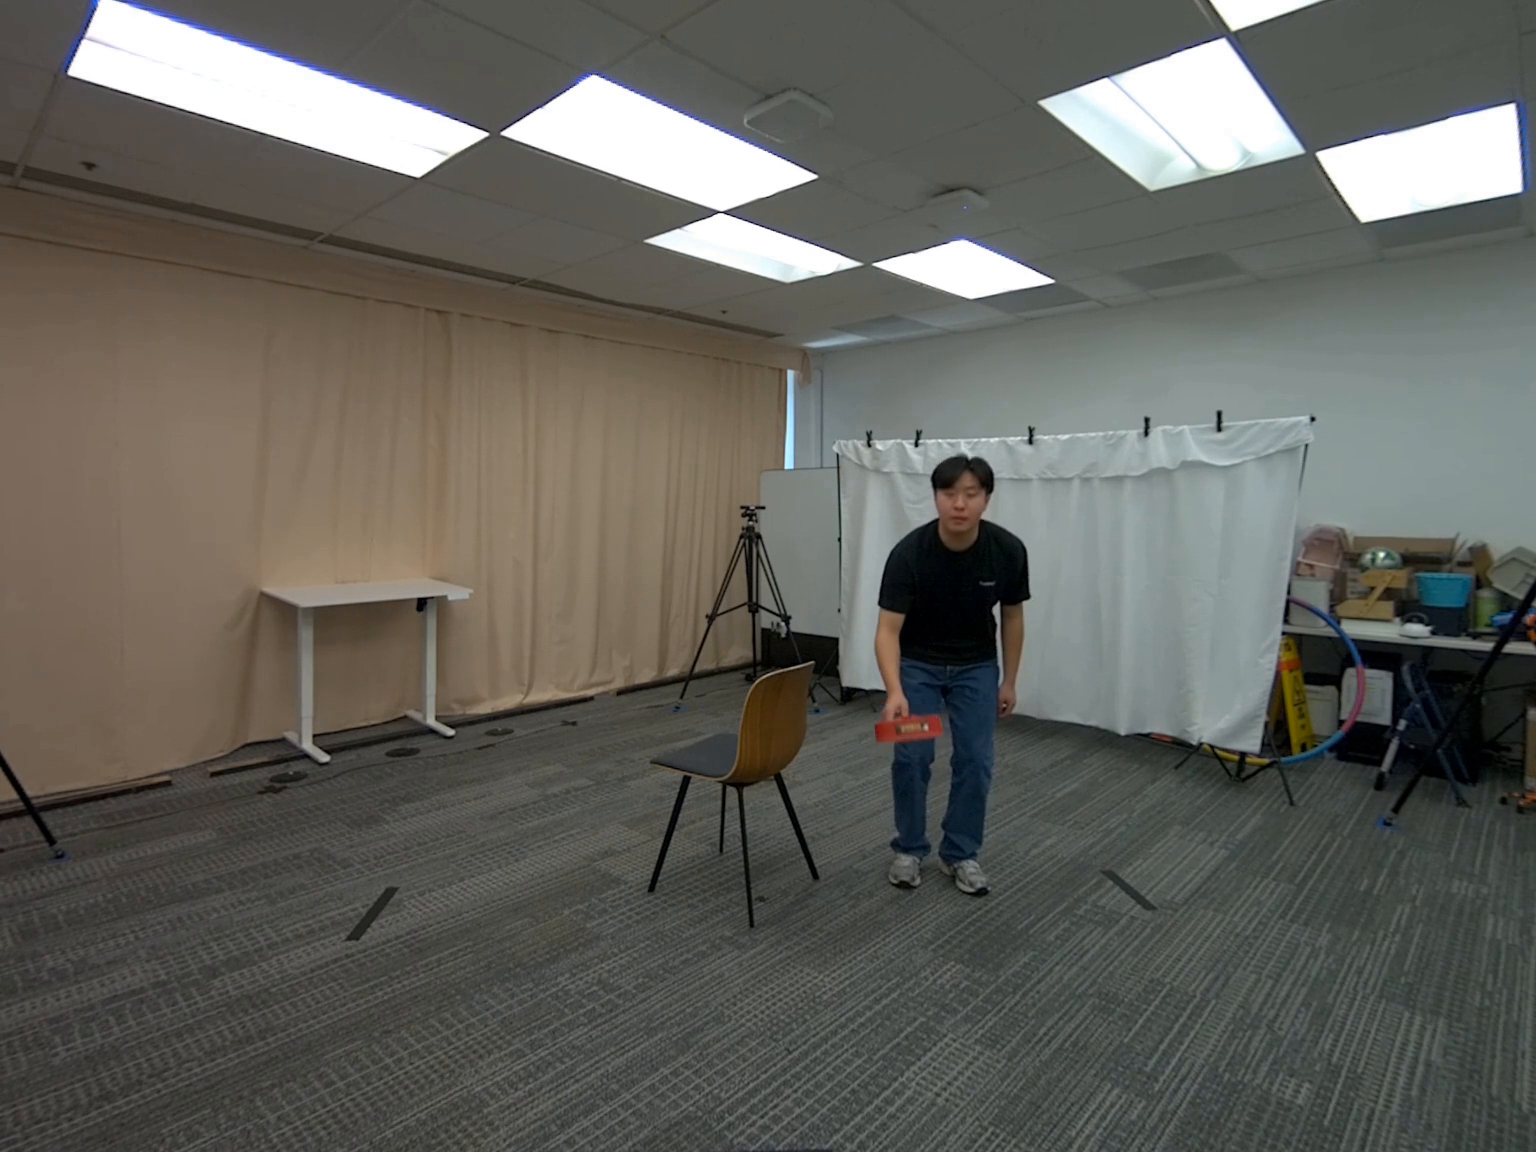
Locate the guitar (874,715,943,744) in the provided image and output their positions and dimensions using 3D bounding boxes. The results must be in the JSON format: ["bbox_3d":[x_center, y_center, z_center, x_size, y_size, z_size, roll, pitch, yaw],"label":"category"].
[{"bbox_3d":[0.453,0.487,2.648,0.195,0.071,0.487,-8,-11,11],"label":"guitar"}]
